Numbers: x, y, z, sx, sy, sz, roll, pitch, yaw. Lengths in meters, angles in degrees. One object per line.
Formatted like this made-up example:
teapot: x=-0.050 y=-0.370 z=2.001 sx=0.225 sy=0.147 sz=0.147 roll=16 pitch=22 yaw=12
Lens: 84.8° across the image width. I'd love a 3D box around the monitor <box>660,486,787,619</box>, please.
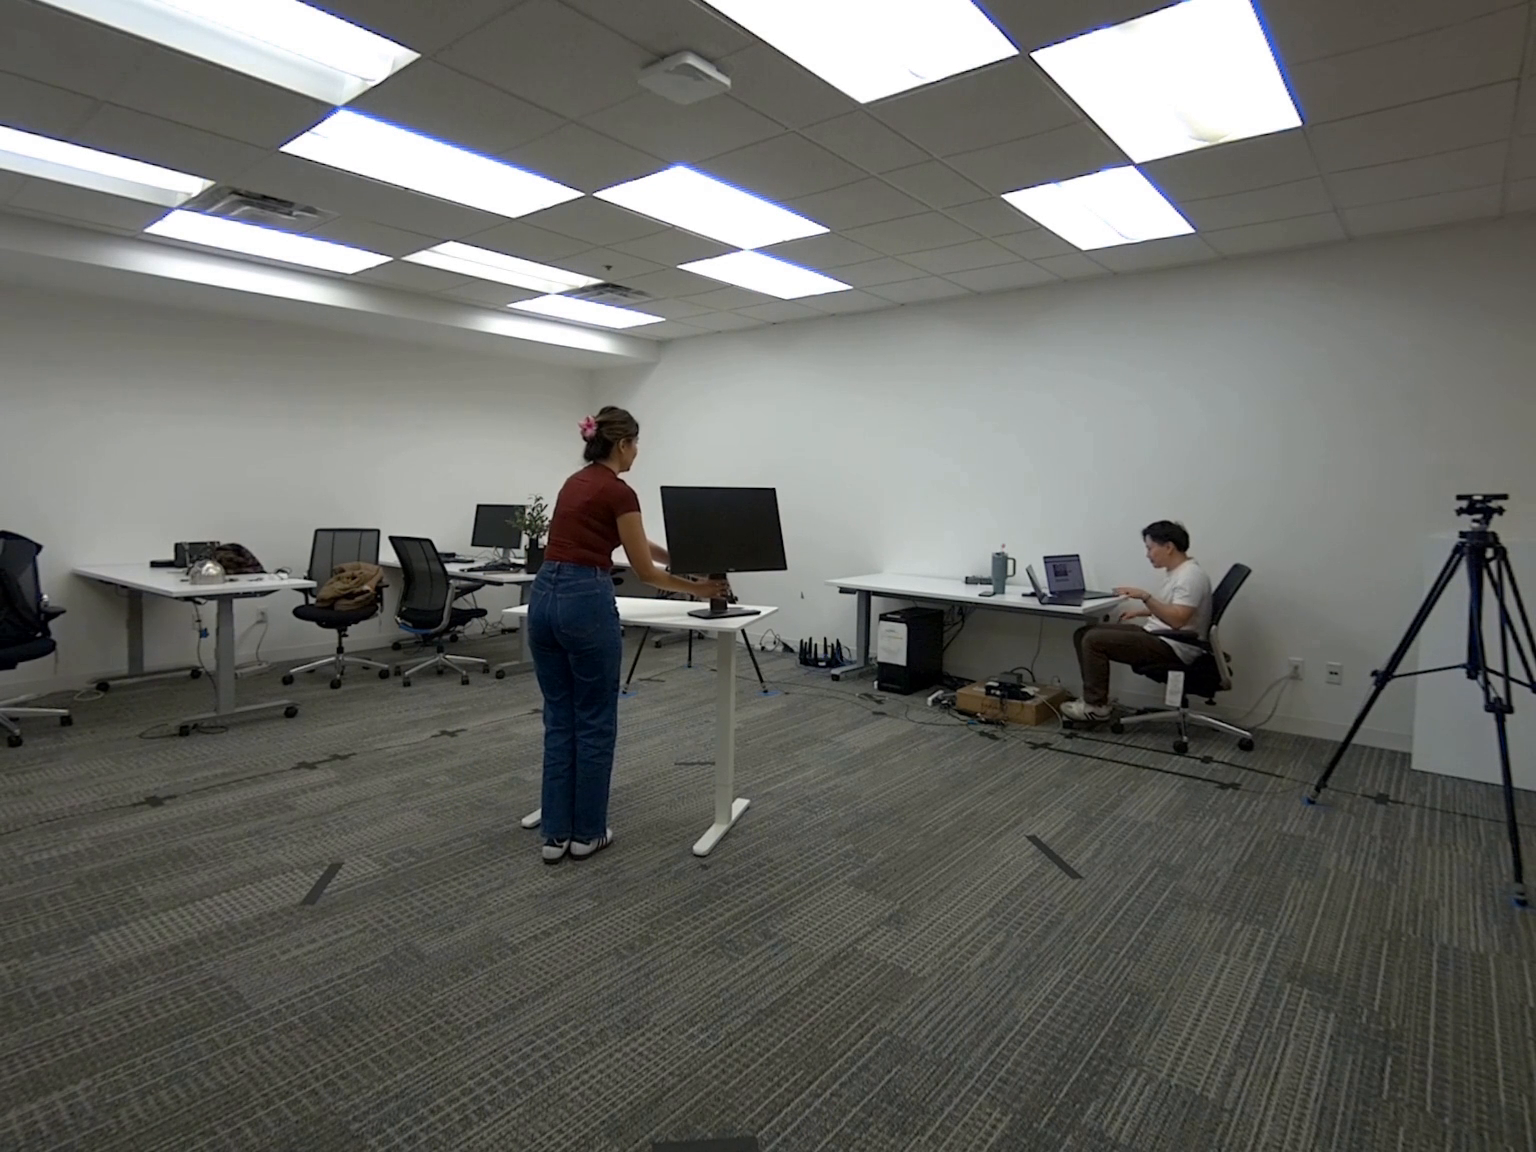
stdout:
monitor: x=-0.194 y=-0.099 z=3.422 sx=0.524 sy=0.522 sz=0.192 roll=-2 pitch=1 yaw=-32
